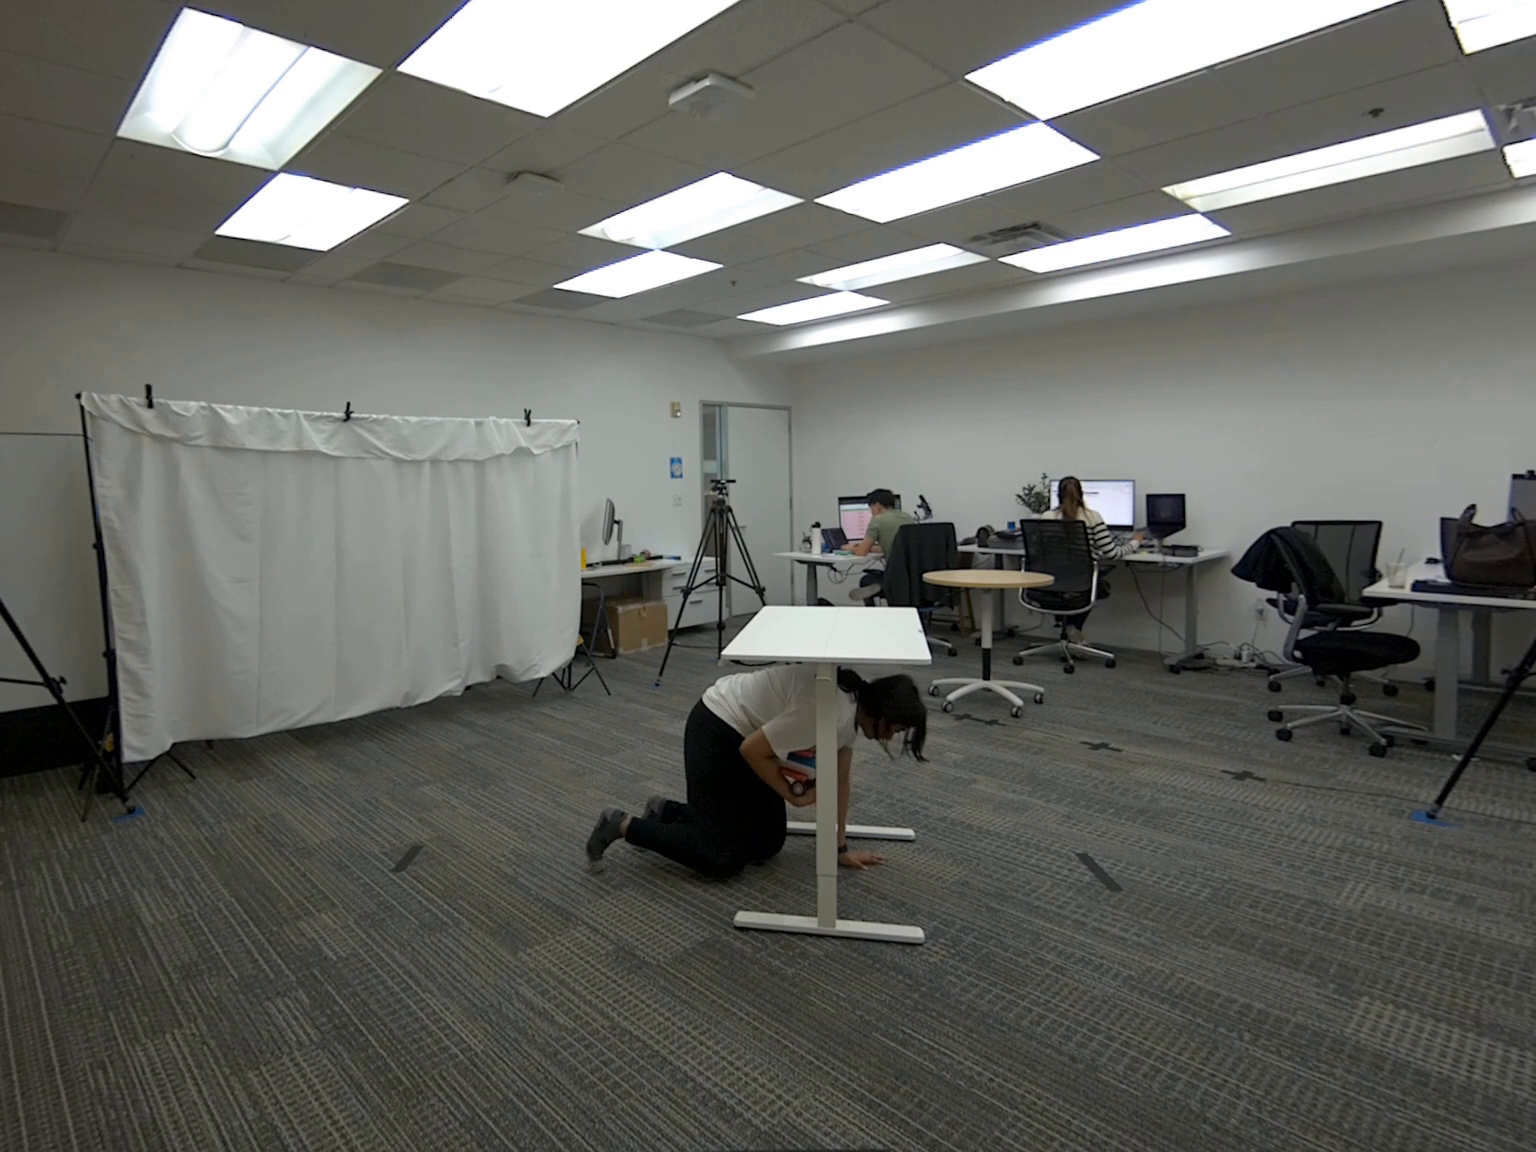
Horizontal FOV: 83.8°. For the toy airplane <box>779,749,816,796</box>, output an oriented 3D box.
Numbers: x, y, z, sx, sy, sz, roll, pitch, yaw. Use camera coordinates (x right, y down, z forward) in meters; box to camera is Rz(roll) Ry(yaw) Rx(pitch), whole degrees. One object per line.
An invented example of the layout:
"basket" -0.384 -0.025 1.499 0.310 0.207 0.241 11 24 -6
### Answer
"toy airplane" 0.060 0.629 2.905 0.255 0.156 0.255 34 -3 -15
